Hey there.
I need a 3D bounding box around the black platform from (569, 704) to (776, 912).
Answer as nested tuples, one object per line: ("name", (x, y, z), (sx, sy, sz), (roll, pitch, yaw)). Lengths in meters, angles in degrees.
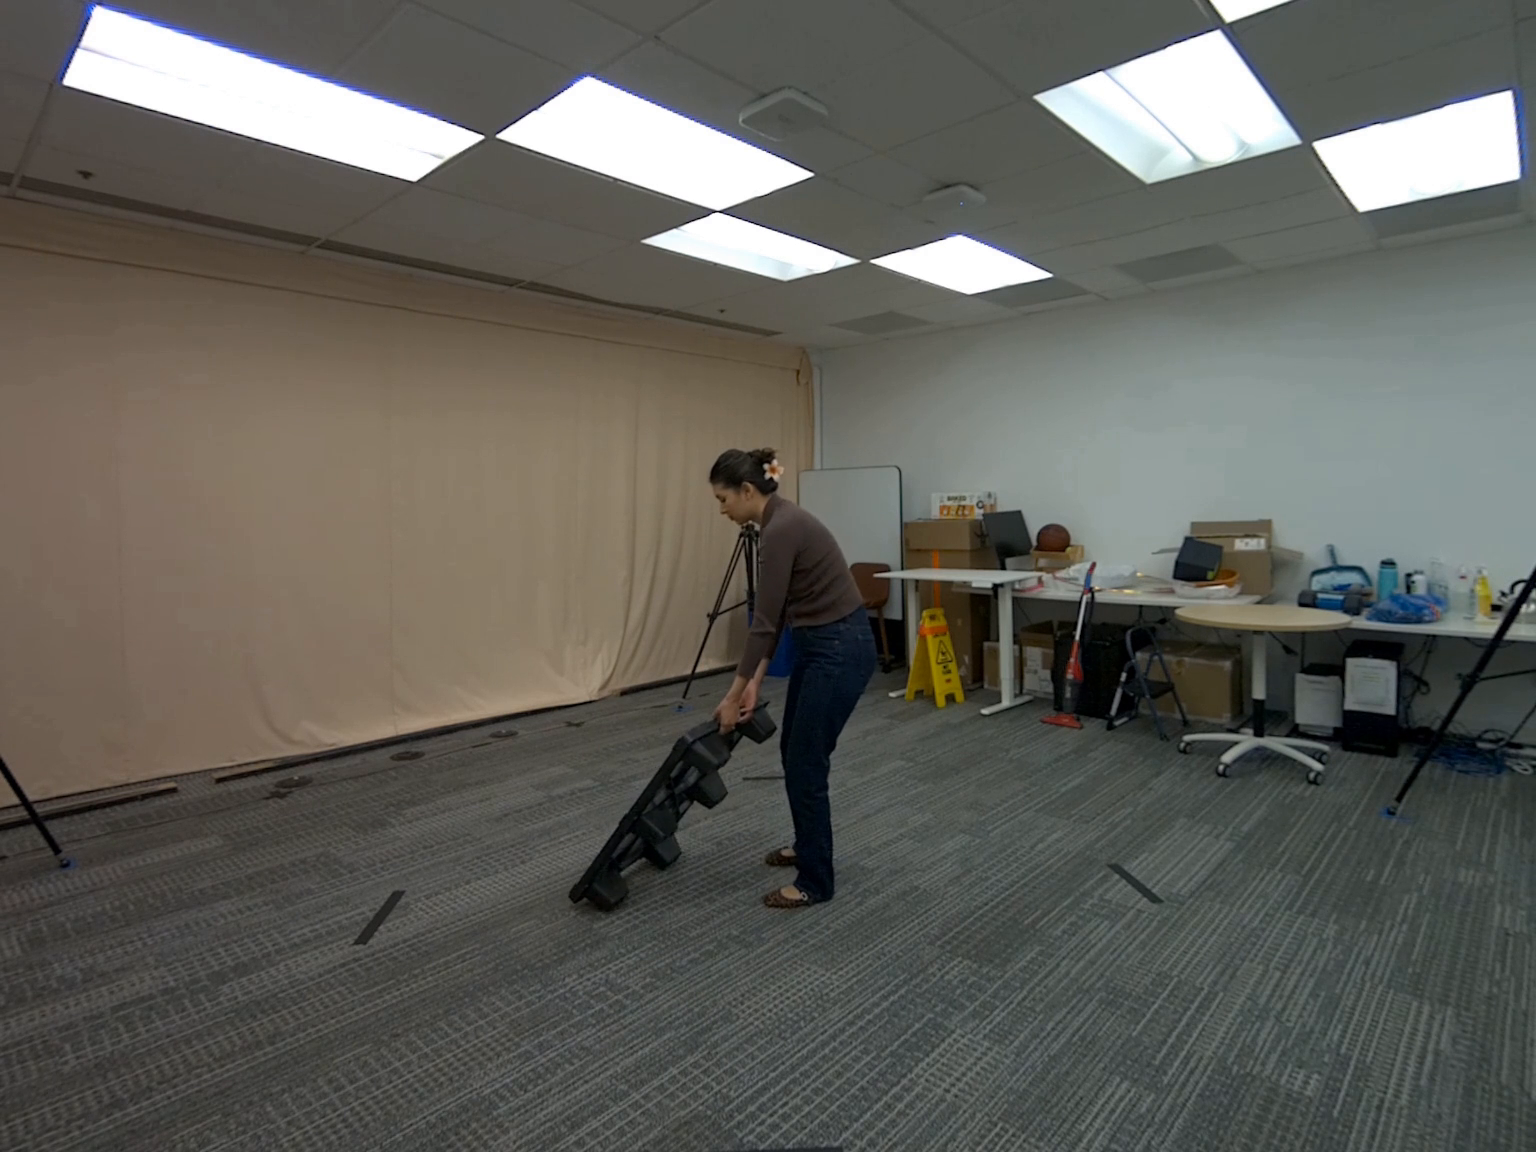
("black platform", (-0.303, 0.812, 2.997), (0.146, 0.807, 0.591), (41, 20, 16))
